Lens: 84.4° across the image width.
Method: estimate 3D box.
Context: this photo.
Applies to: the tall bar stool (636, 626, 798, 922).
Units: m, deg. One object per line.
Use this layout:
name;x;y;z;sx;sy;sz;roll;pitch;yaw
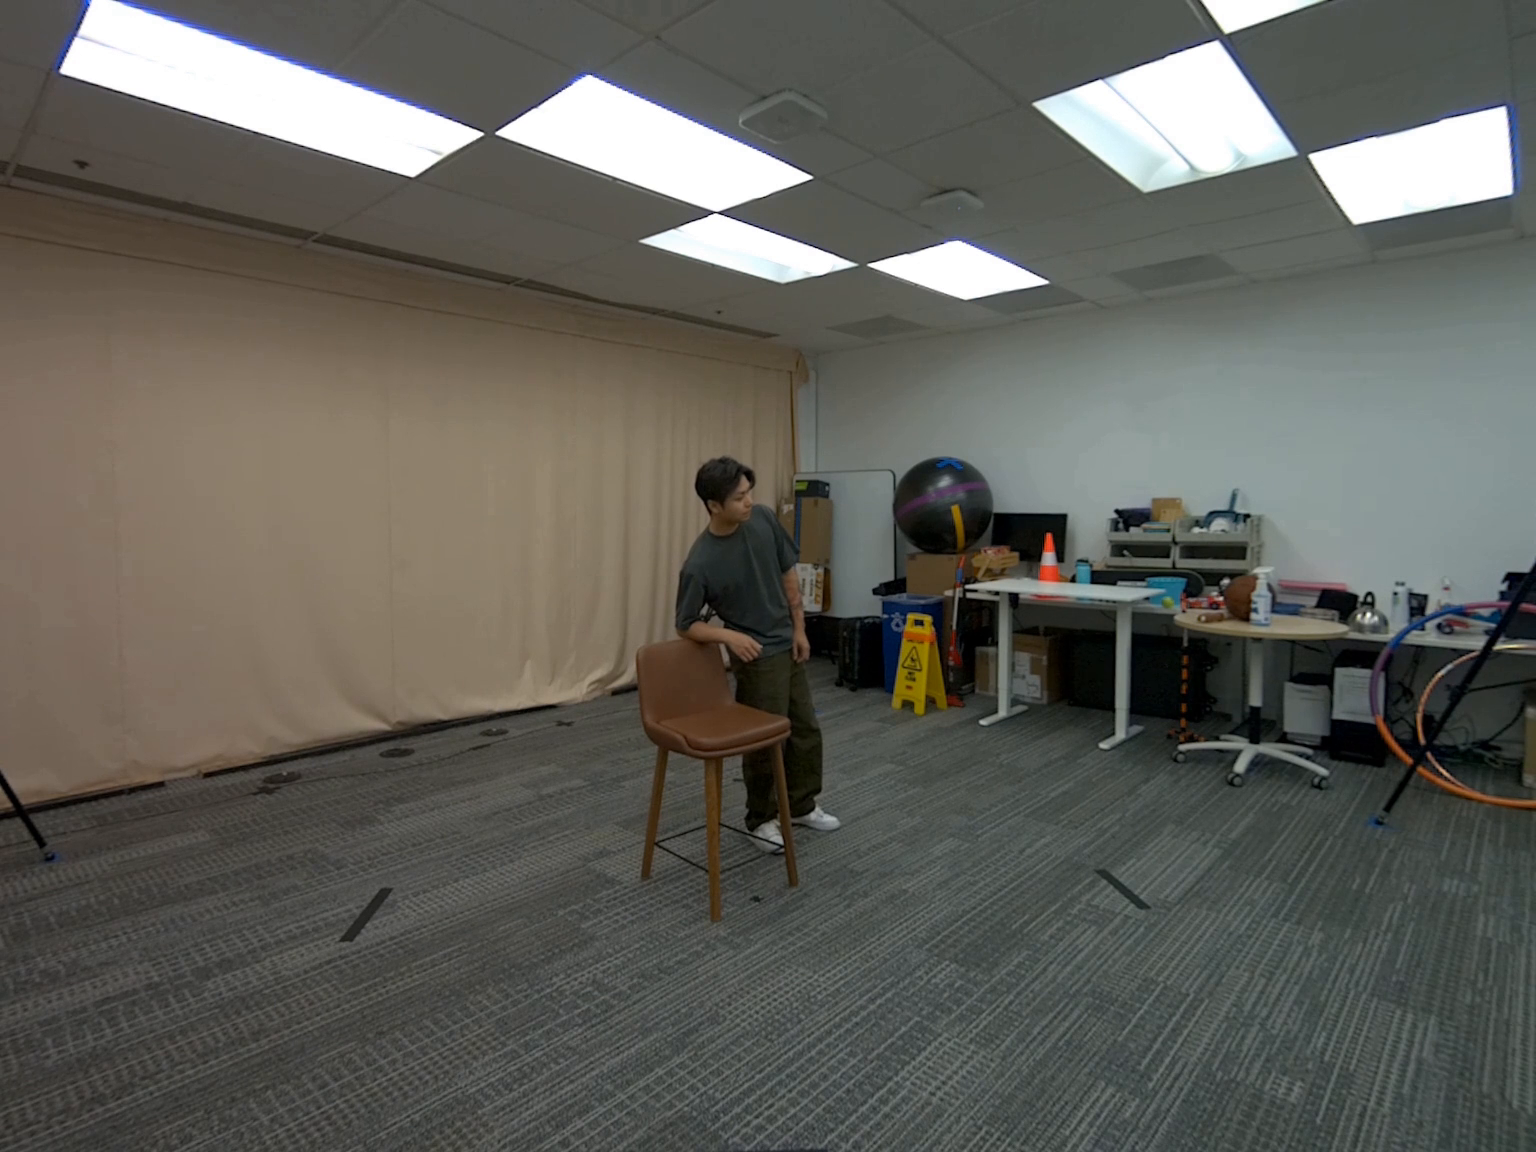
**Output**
tall bar stool;-0.201;0.700;3.095;0.442;0.888;0.483;-4;3;-42
